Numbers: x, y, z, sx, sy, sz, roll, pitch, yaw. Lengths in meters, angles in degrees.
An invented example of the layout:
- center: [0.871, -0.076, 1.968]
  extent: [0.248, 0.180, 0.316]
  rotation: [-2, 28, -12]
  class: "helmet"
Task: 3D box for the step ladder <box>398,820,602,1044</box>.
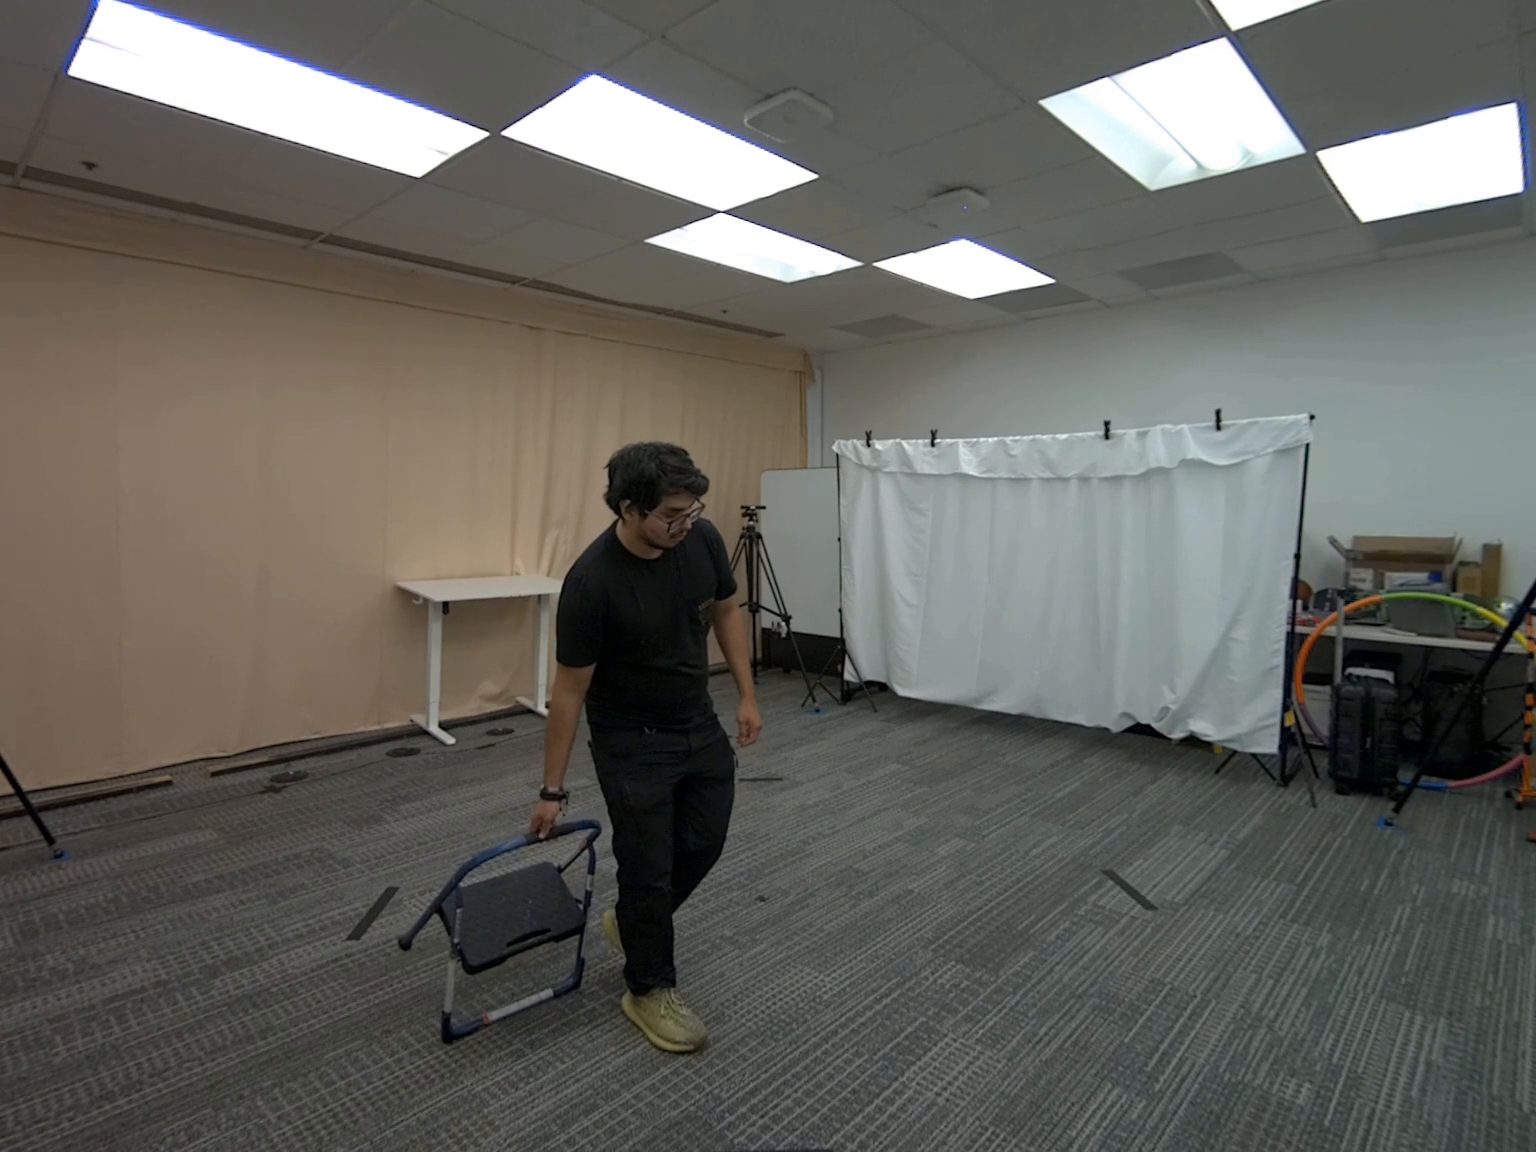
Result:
- center: [-0.699, 0.868, 2.299]
  extent: [0.417, 0.603, 0.362]
  rotation: [-4, 35, -43]
  class: "step ladder"
